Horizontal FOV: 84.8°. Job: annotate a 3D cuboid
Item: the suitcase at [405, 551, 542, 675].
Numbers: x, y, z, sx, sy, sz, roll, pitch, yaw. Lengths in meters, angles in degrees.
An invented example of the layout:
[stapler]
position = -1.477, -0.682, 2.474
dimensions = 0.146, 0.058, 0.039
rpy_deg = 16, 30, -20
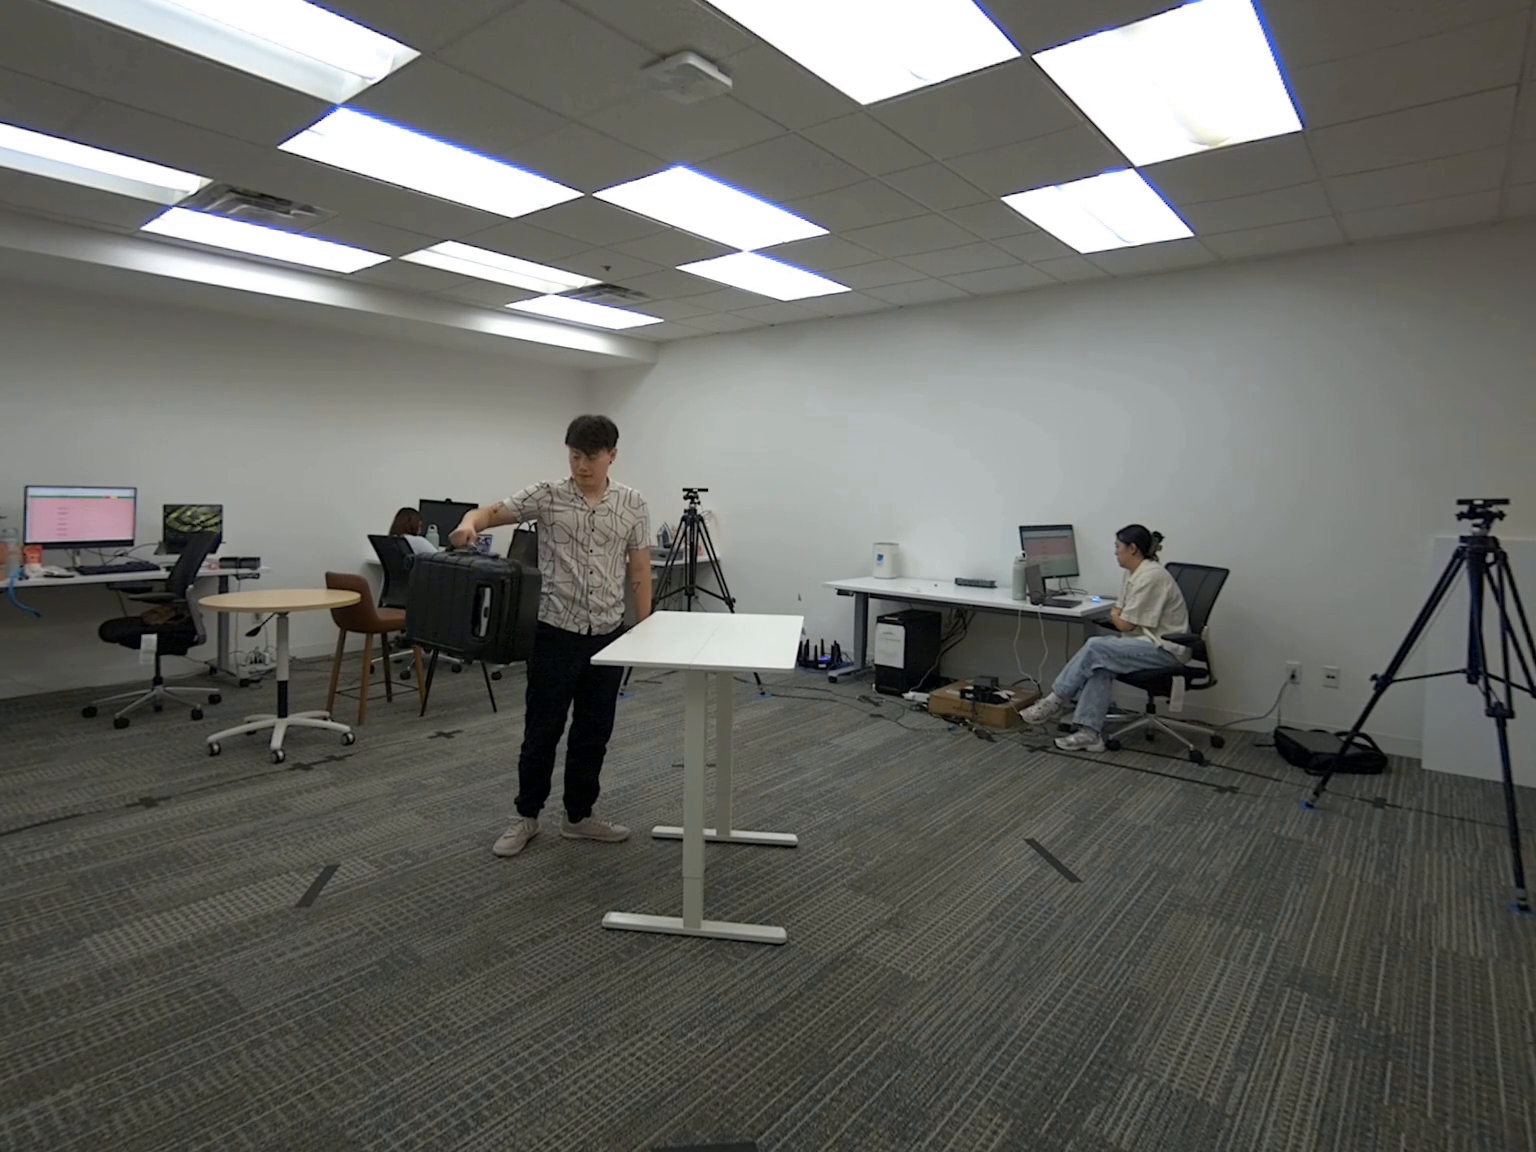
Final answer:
[suitcase]
position = -1.058, 0.099, 3.020
dimensions = 0.568, 0.376, 0.239
rpy_deg = 4, -4, 39
